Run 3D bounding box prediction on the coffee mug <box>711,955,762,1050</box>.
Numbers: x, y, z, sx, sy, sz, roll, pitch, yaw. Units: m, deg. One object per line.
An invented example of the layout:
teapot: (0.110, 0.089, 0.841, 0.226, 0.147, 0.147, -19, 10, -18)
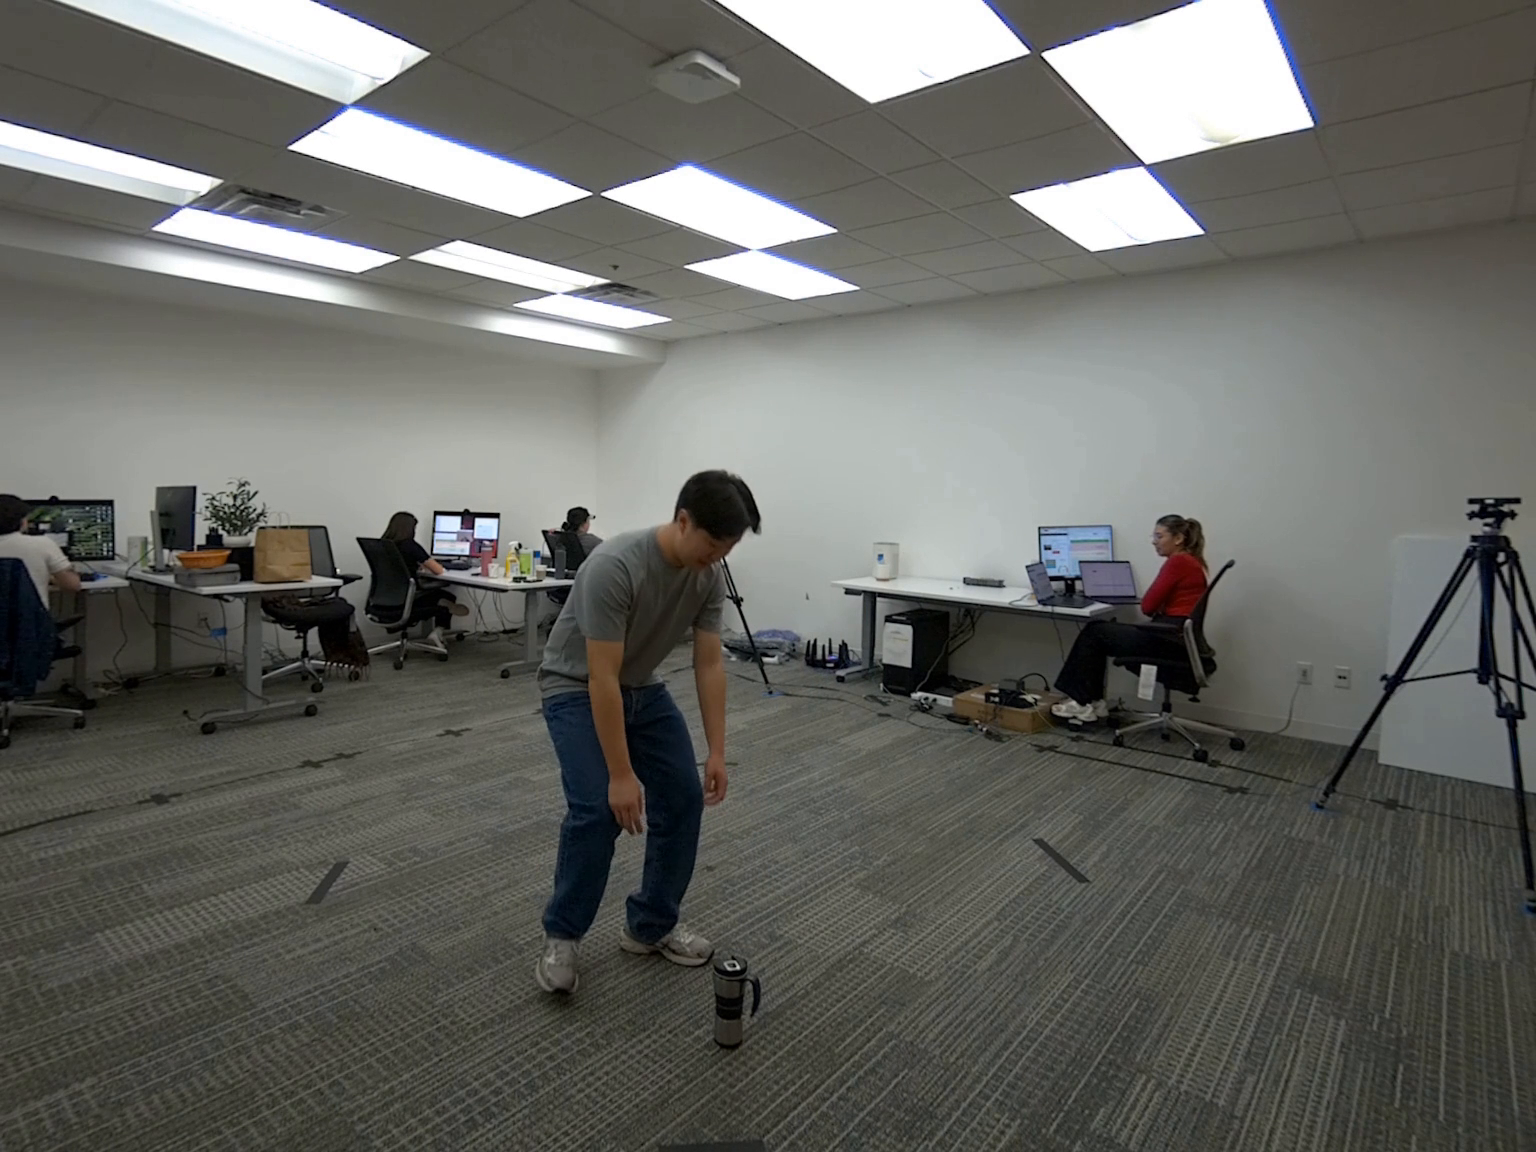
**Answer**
coffee mug: (-0.089, 1.071, 2.115, 0.126, 0.203, 0.085, 1, 0, 37)
